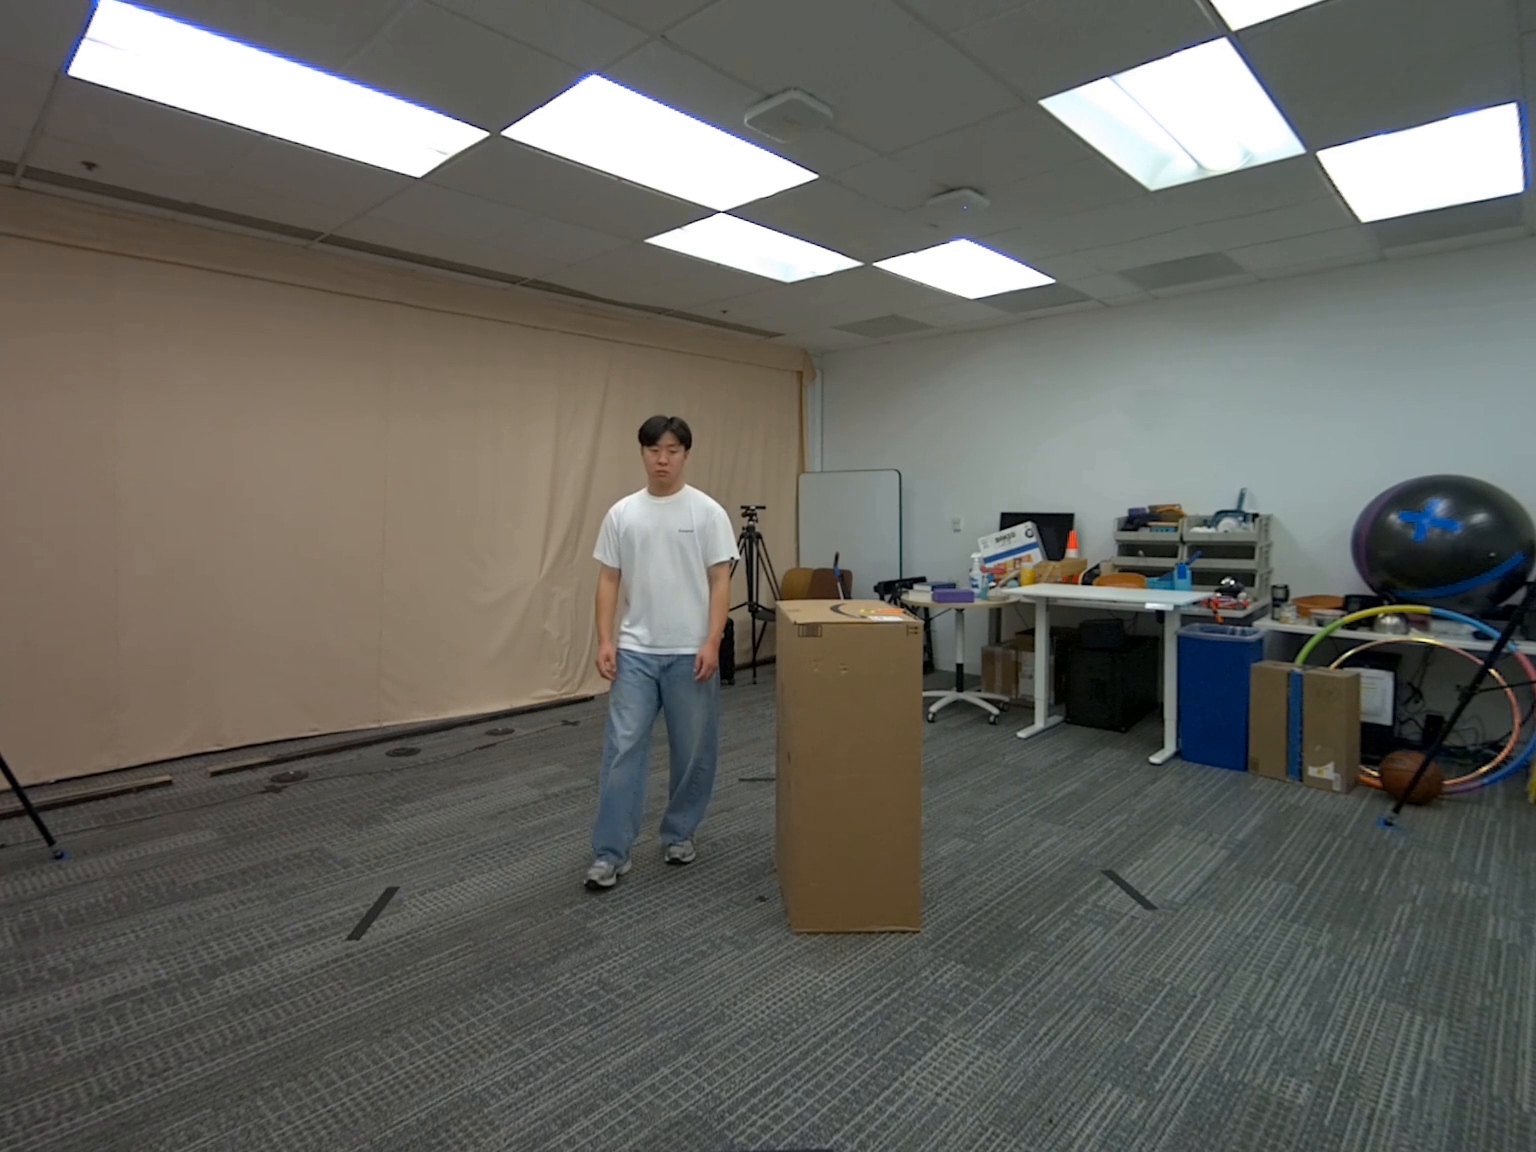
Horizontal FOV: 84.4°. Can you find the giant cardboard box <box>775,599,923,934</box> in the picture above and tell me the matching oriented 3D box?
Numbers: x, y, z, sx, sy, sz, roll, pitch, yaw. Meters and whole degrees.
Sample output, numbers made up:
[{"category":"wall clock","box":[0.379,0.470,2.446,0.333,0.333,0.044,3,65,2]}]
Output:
[{"category":"giant cardboard box","box":[0.272,0.634,2.992,0.425,1.024,0.581,0,3,-4]}]
